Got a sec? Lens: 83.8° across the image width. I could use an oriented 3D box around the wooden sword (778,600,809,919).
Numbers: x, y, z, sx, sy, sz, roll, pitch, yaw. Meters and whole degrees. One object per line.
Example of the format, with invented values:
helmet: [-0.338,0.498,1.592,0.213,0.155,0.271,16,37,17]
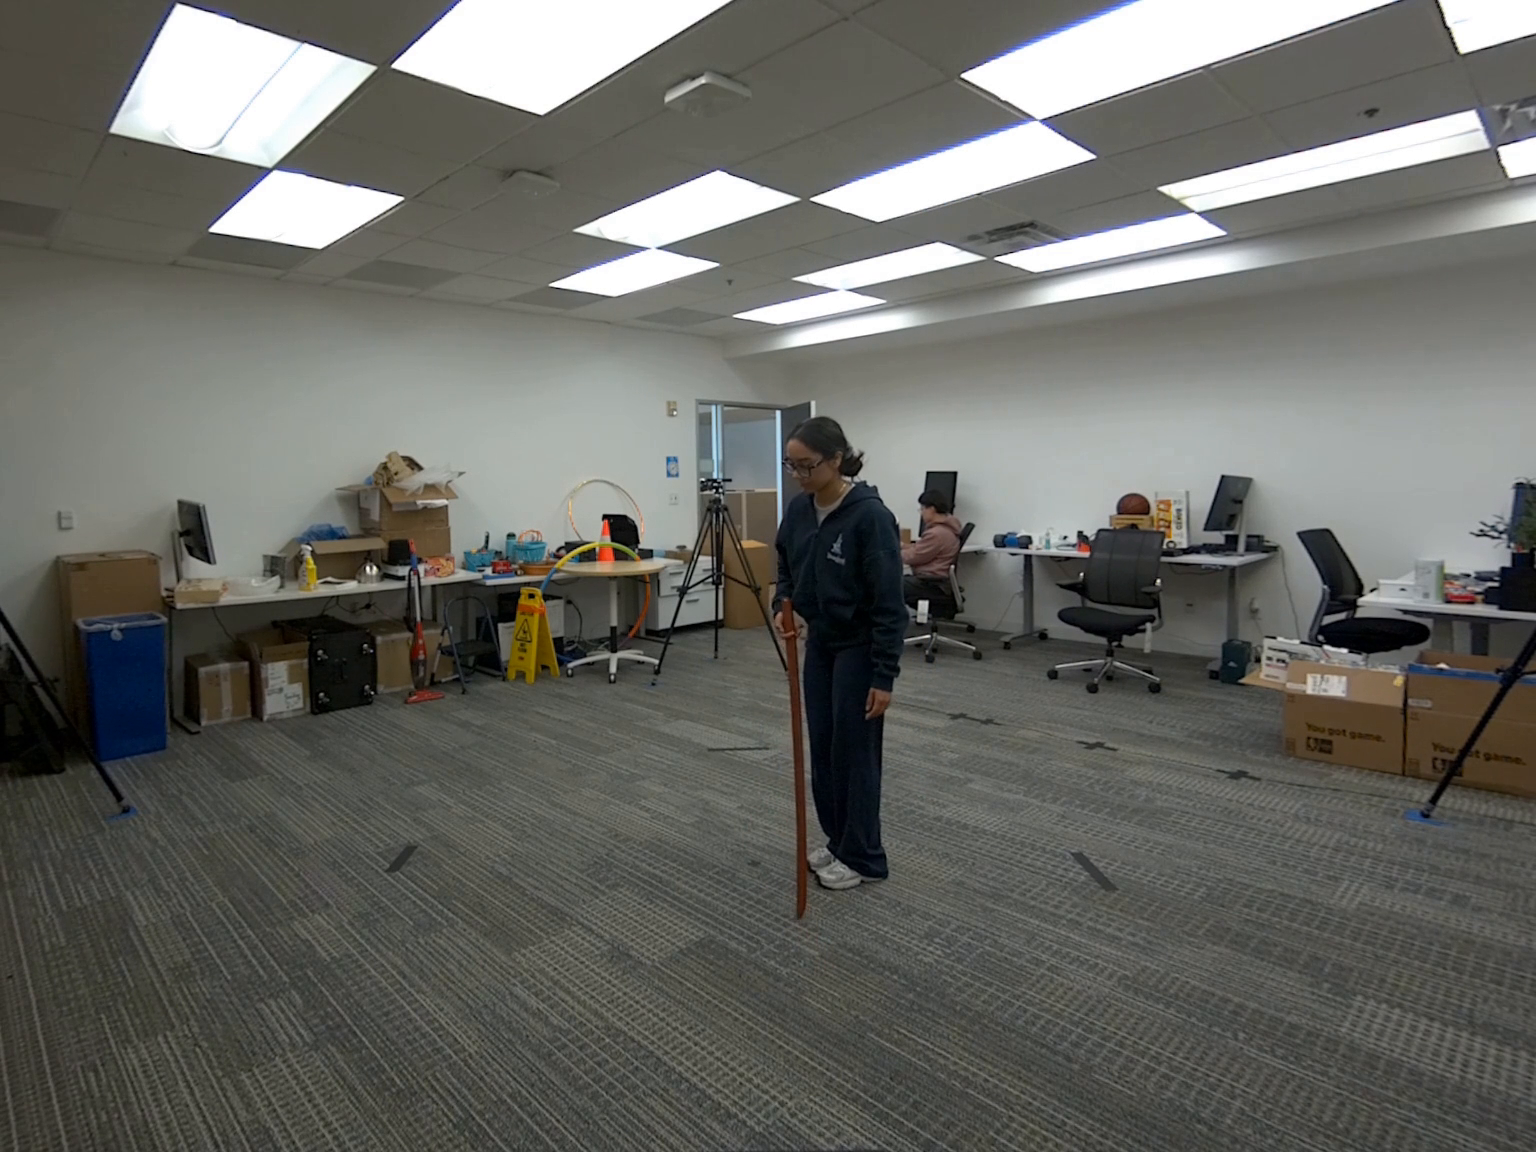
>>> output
wooden sword: [0.100,0.619,2.815,0.024,1.039,0.050,-6,-16,16]
